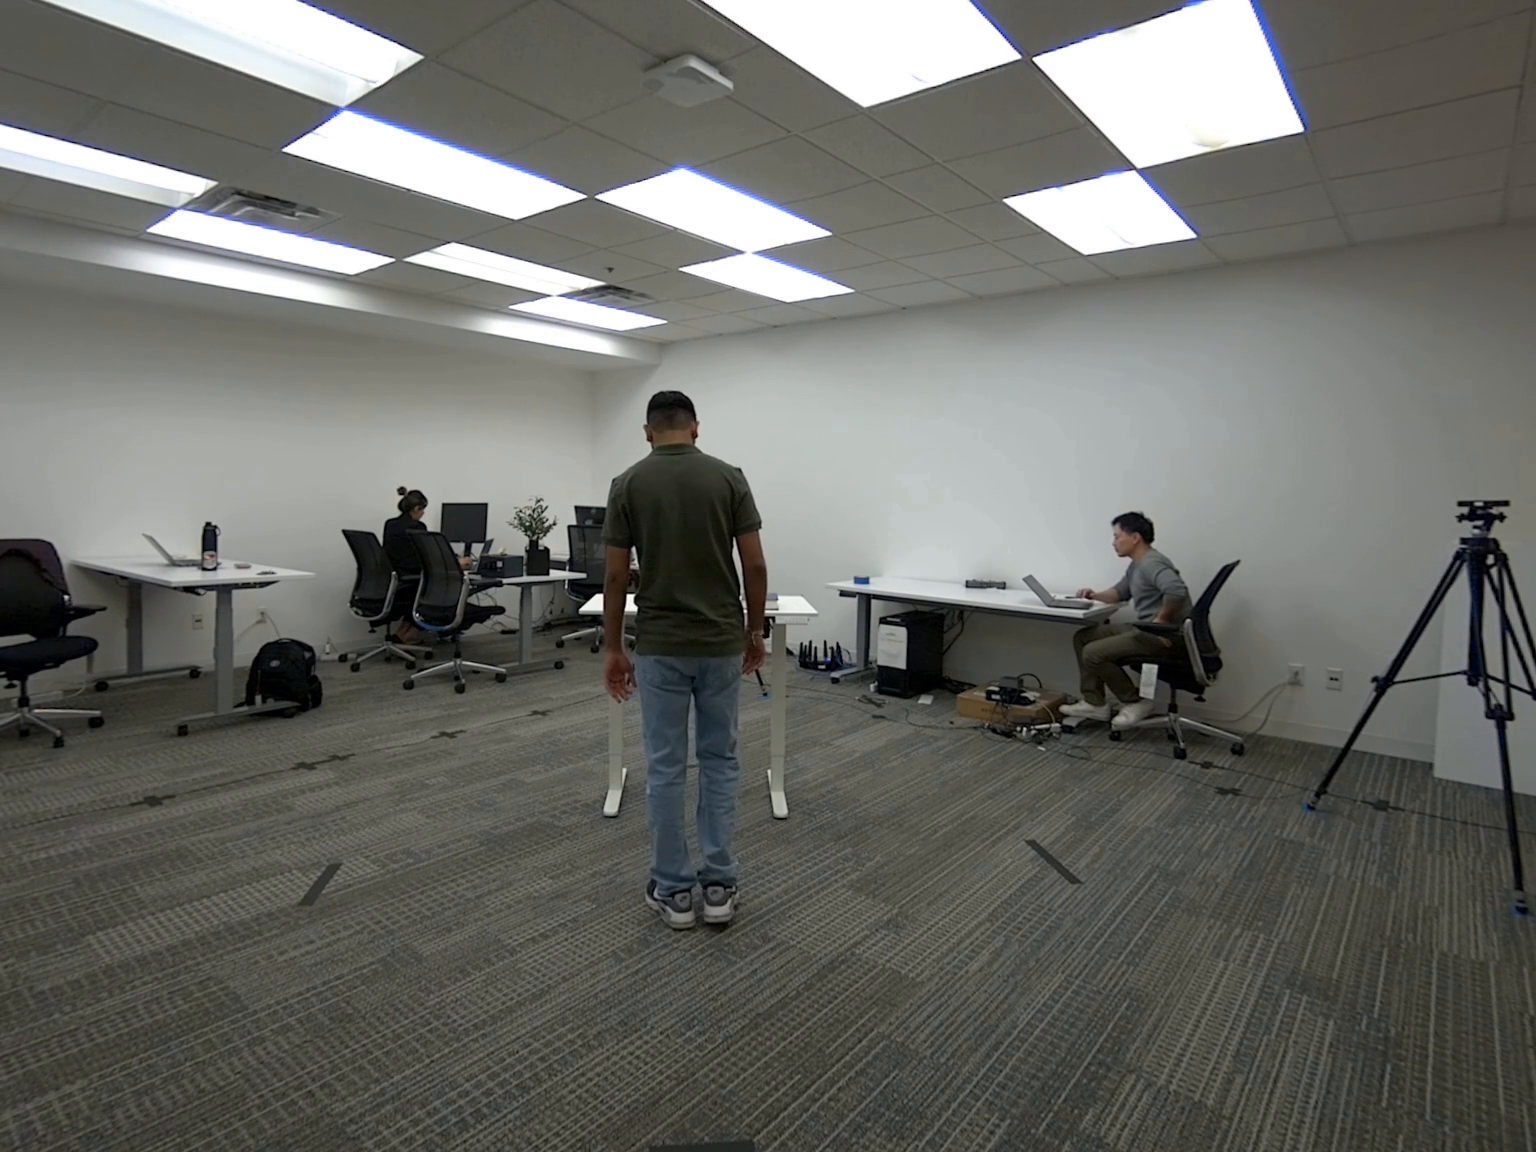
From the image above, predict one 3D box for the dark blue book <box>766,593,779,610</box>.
[{"bbox_3d":[-0.053,0.108,3.765,0.164,0.045,0.245,0,5,1],"label":"dark blue book"}]
